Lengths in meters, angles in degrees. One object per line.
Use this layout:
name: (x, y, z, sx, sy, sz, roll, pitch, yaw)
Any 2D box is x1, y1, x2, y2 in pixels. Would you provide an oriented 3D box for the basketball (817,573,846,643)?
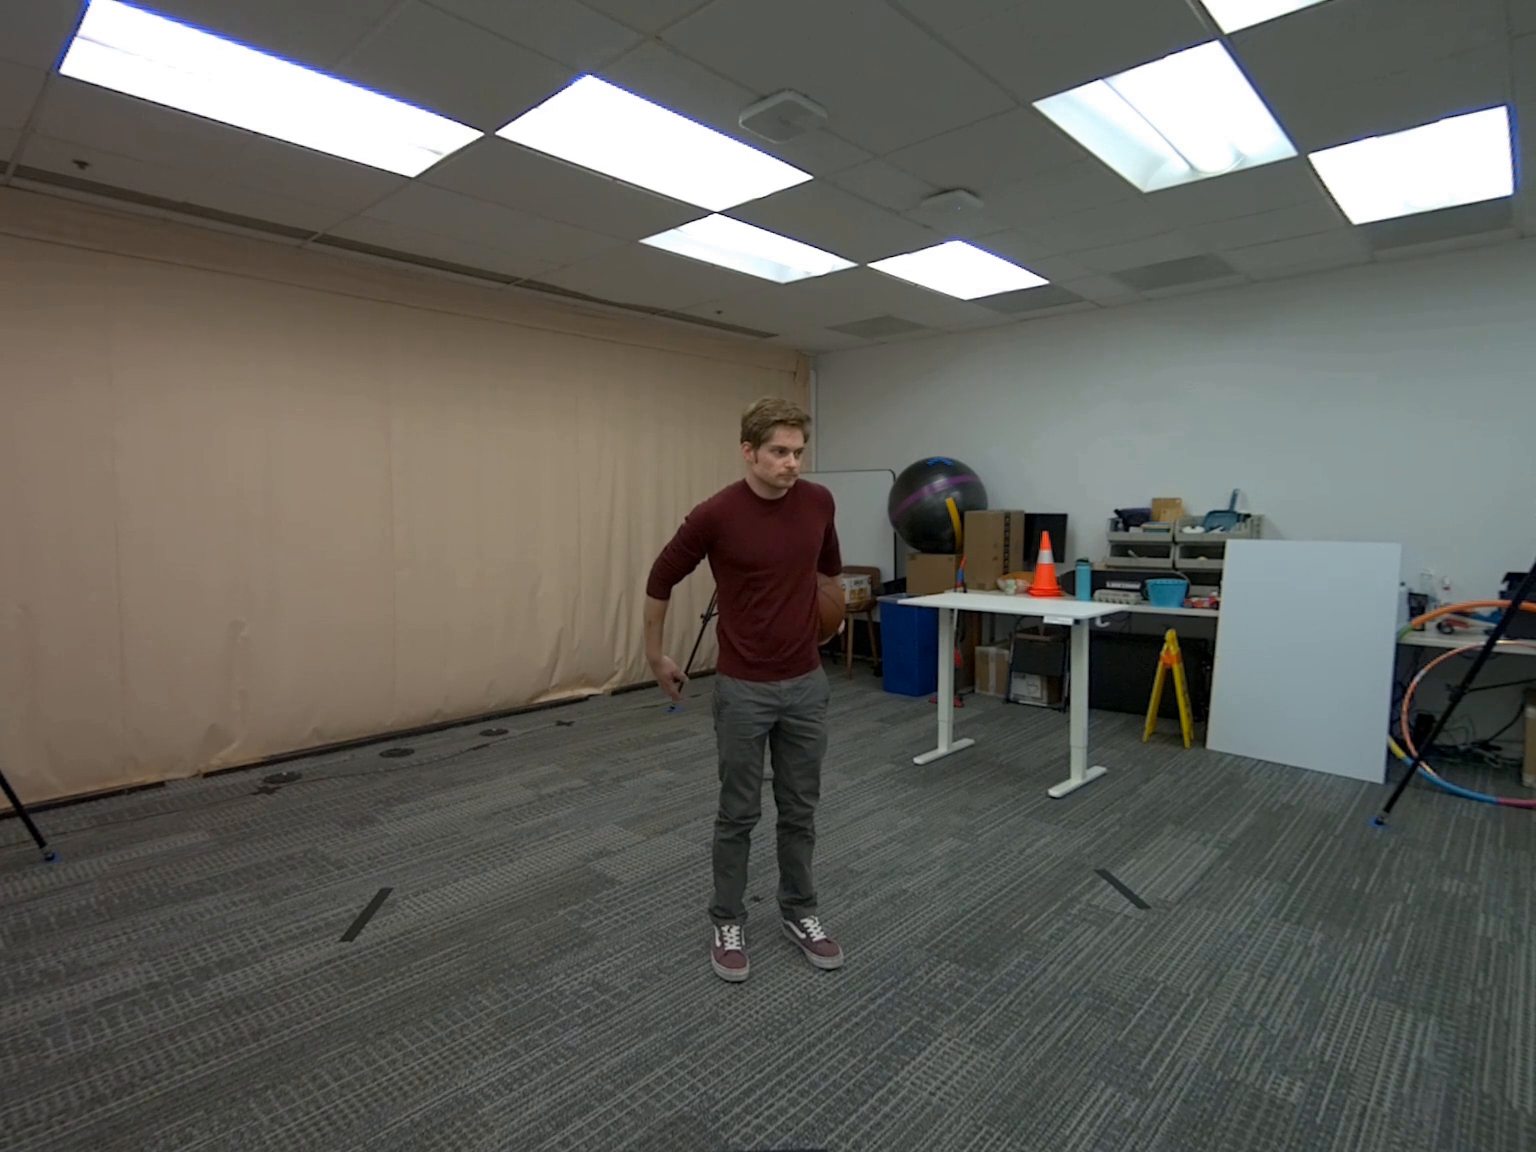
basketball: (0.135, 0.103, 2.782, 0.236, 0.235, 0.237, 0, 4, -2)
